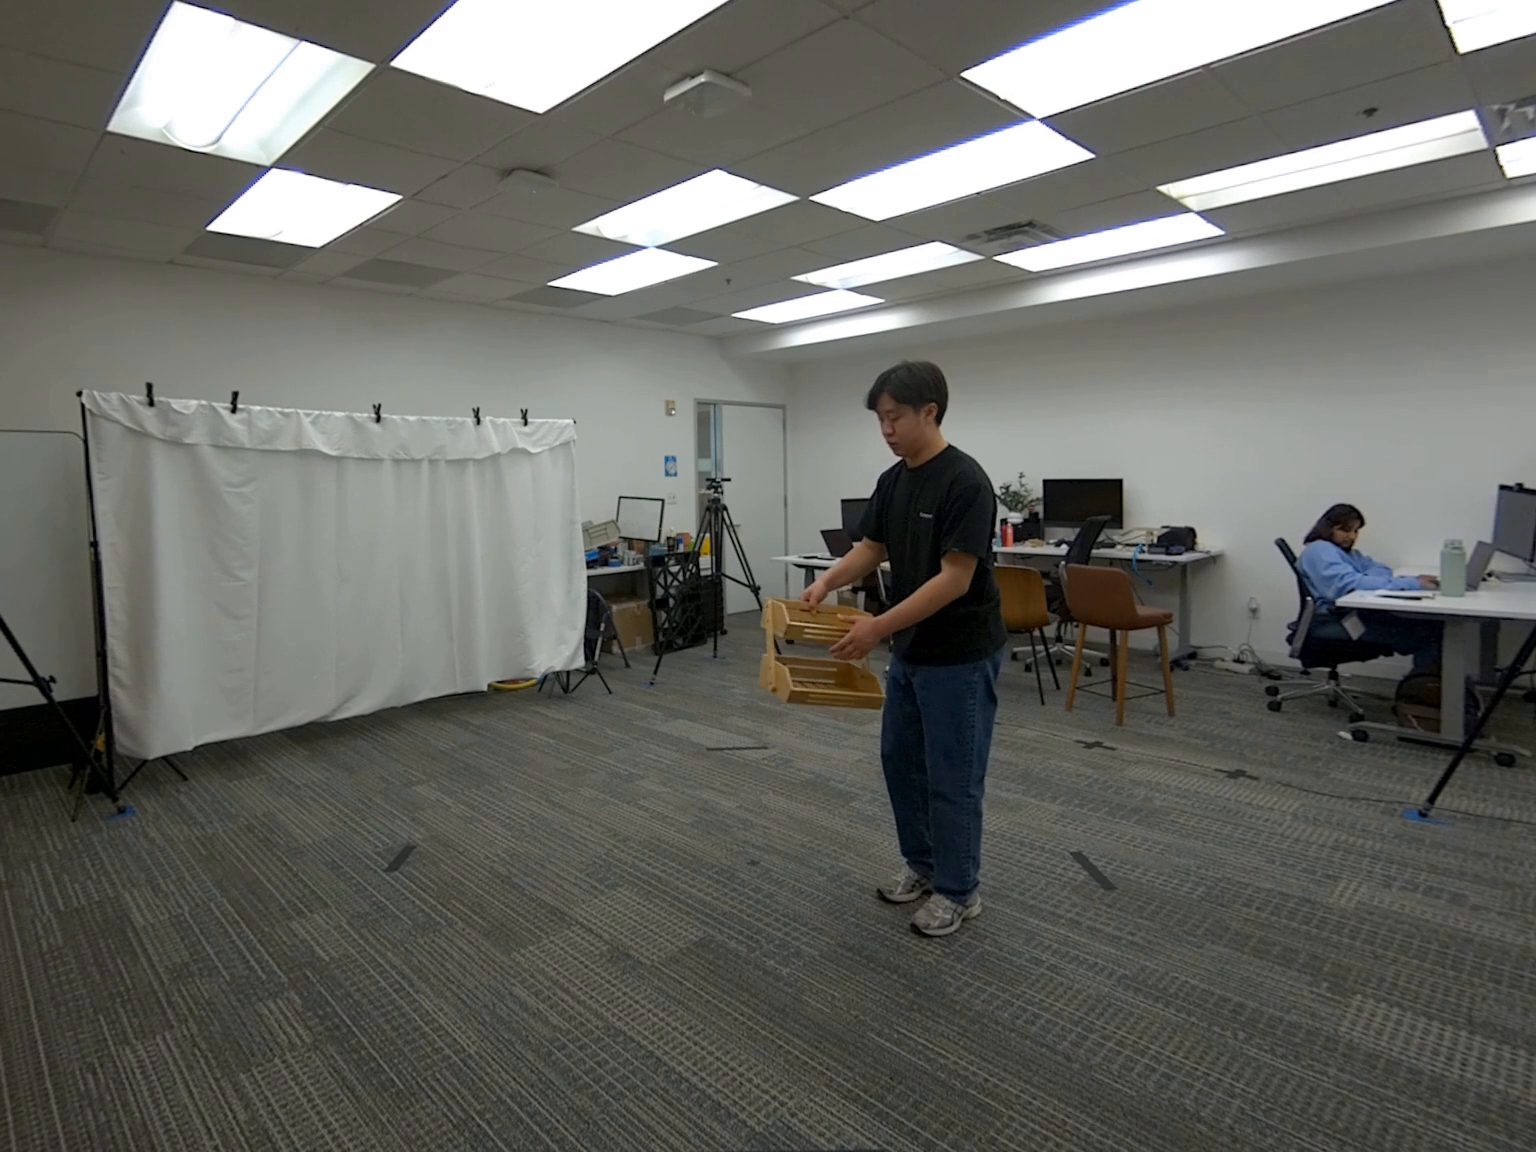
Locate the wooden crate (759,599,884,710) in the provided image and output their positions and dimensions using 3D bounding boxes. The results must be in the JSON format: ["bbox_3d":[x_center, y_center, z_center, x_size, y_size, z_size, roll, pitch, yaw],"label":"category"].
[{"bbox_3d":[0.173,0.234,2.553,0.318,0.273,0.309,8,2,-21],"label":"wooden crate"}]
